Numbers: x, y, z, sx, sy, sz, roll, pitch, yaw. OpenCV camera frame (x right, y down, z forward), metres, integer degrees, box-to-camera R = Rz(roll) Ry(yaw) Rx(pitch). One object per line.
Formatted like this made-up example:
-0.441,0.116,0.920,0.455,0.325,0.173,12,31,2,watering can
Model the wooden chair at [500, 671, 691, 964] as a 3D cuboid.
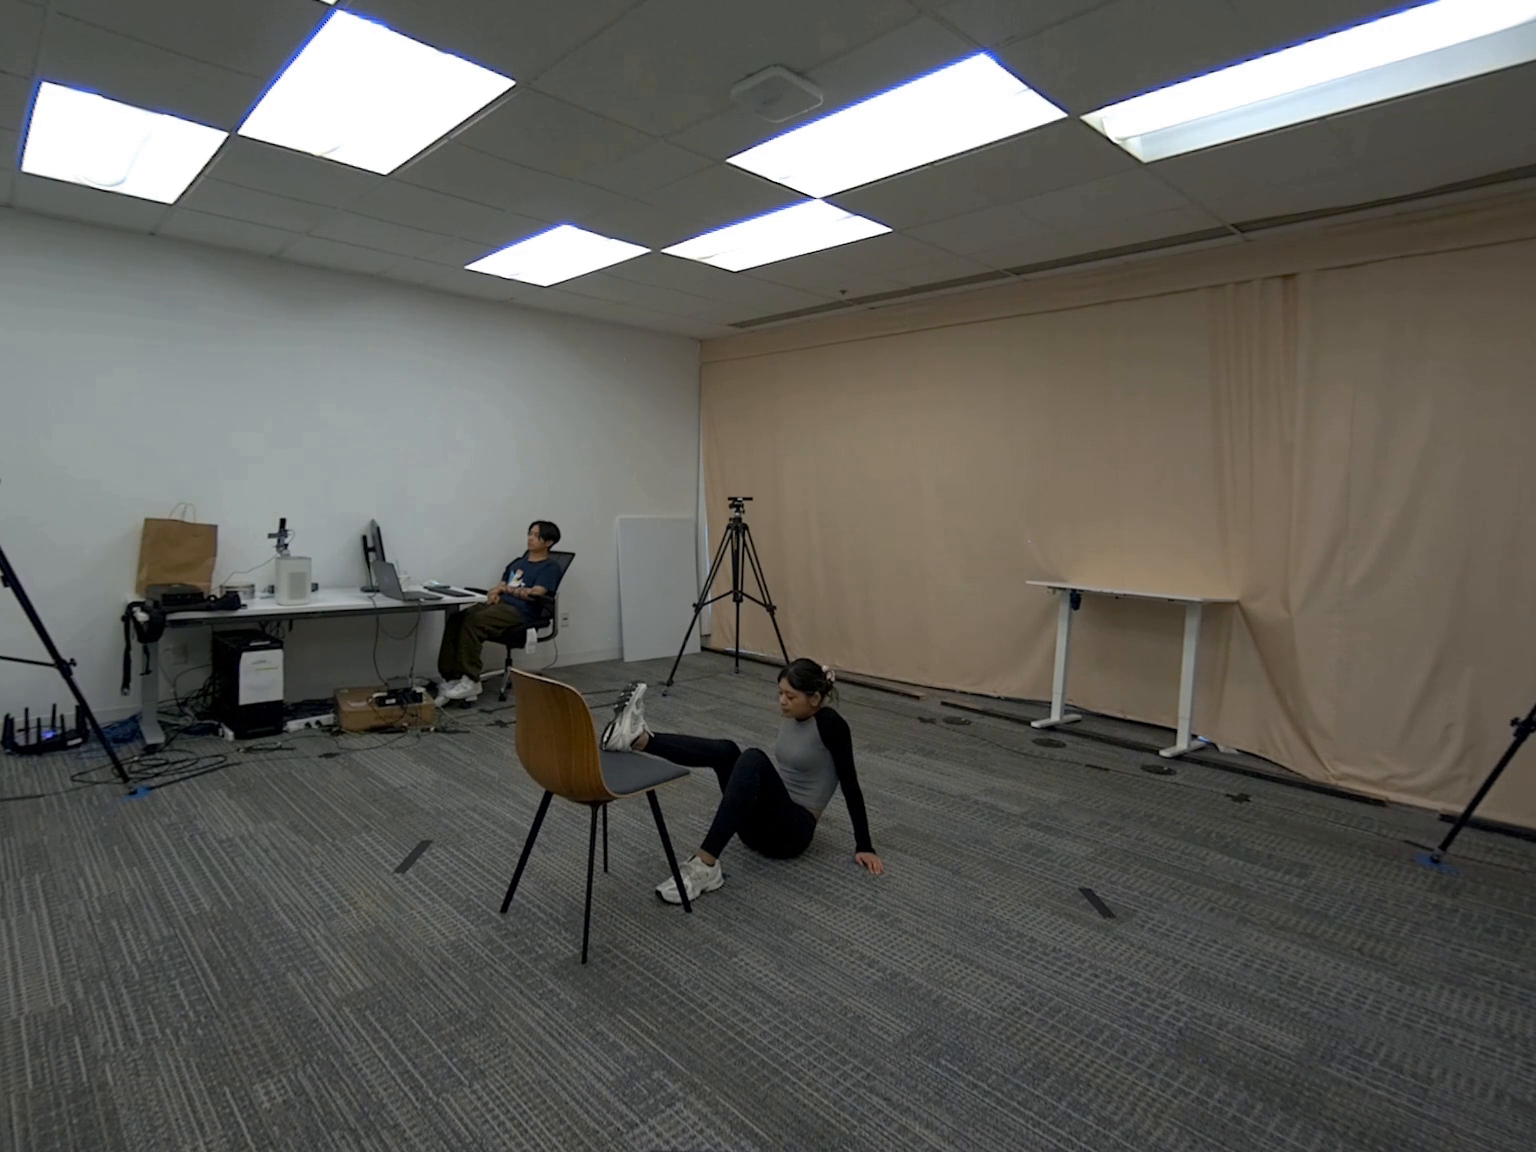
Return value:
-0.561,0.699,2.784,0.490,0.873,0.513,4,9,41,wooden chair
